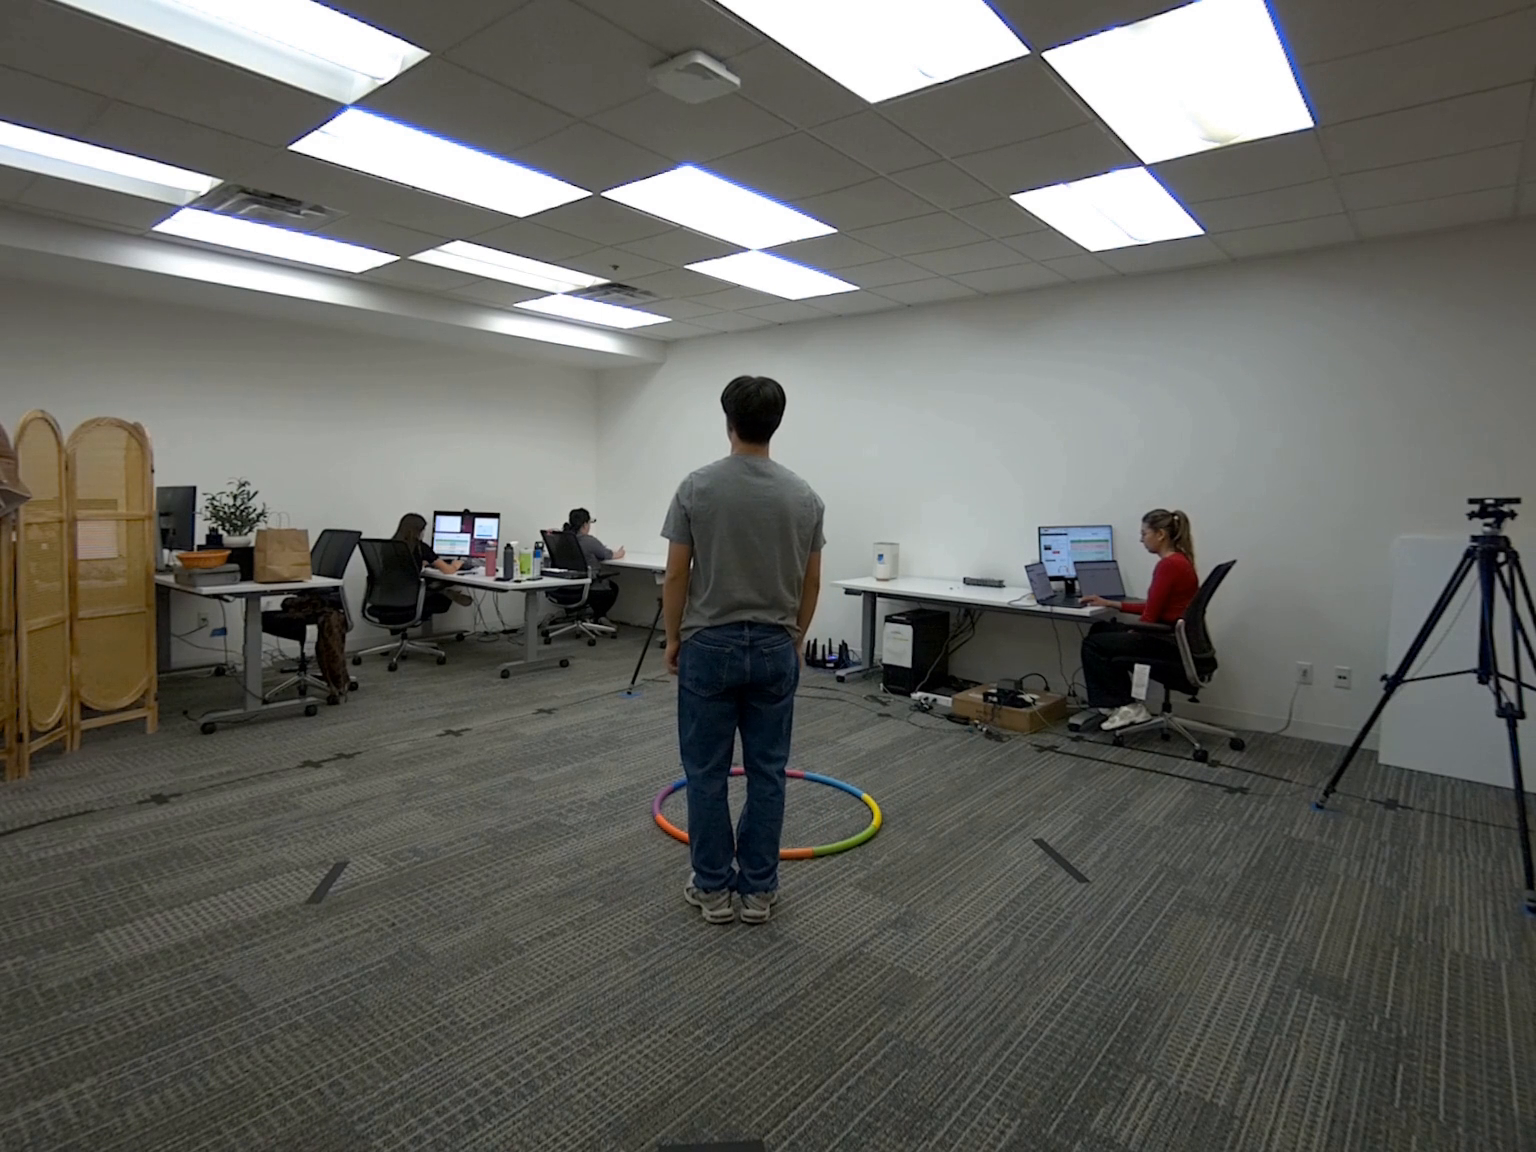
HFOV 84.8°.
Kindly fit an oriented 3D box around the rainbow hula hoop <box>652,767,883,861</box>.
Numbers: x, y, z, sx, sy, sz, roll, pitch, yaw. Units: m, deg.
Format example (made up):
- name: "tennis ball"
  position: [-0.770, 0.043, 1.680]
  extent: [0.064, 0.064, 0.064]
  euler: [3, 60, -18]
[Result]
- name: "rainbow hula hoop"
  position: [-0.021, 0.986, 3.666]
  extent: [0.978, 0.035, 0.984]
  euler: [1, 6, -2]
